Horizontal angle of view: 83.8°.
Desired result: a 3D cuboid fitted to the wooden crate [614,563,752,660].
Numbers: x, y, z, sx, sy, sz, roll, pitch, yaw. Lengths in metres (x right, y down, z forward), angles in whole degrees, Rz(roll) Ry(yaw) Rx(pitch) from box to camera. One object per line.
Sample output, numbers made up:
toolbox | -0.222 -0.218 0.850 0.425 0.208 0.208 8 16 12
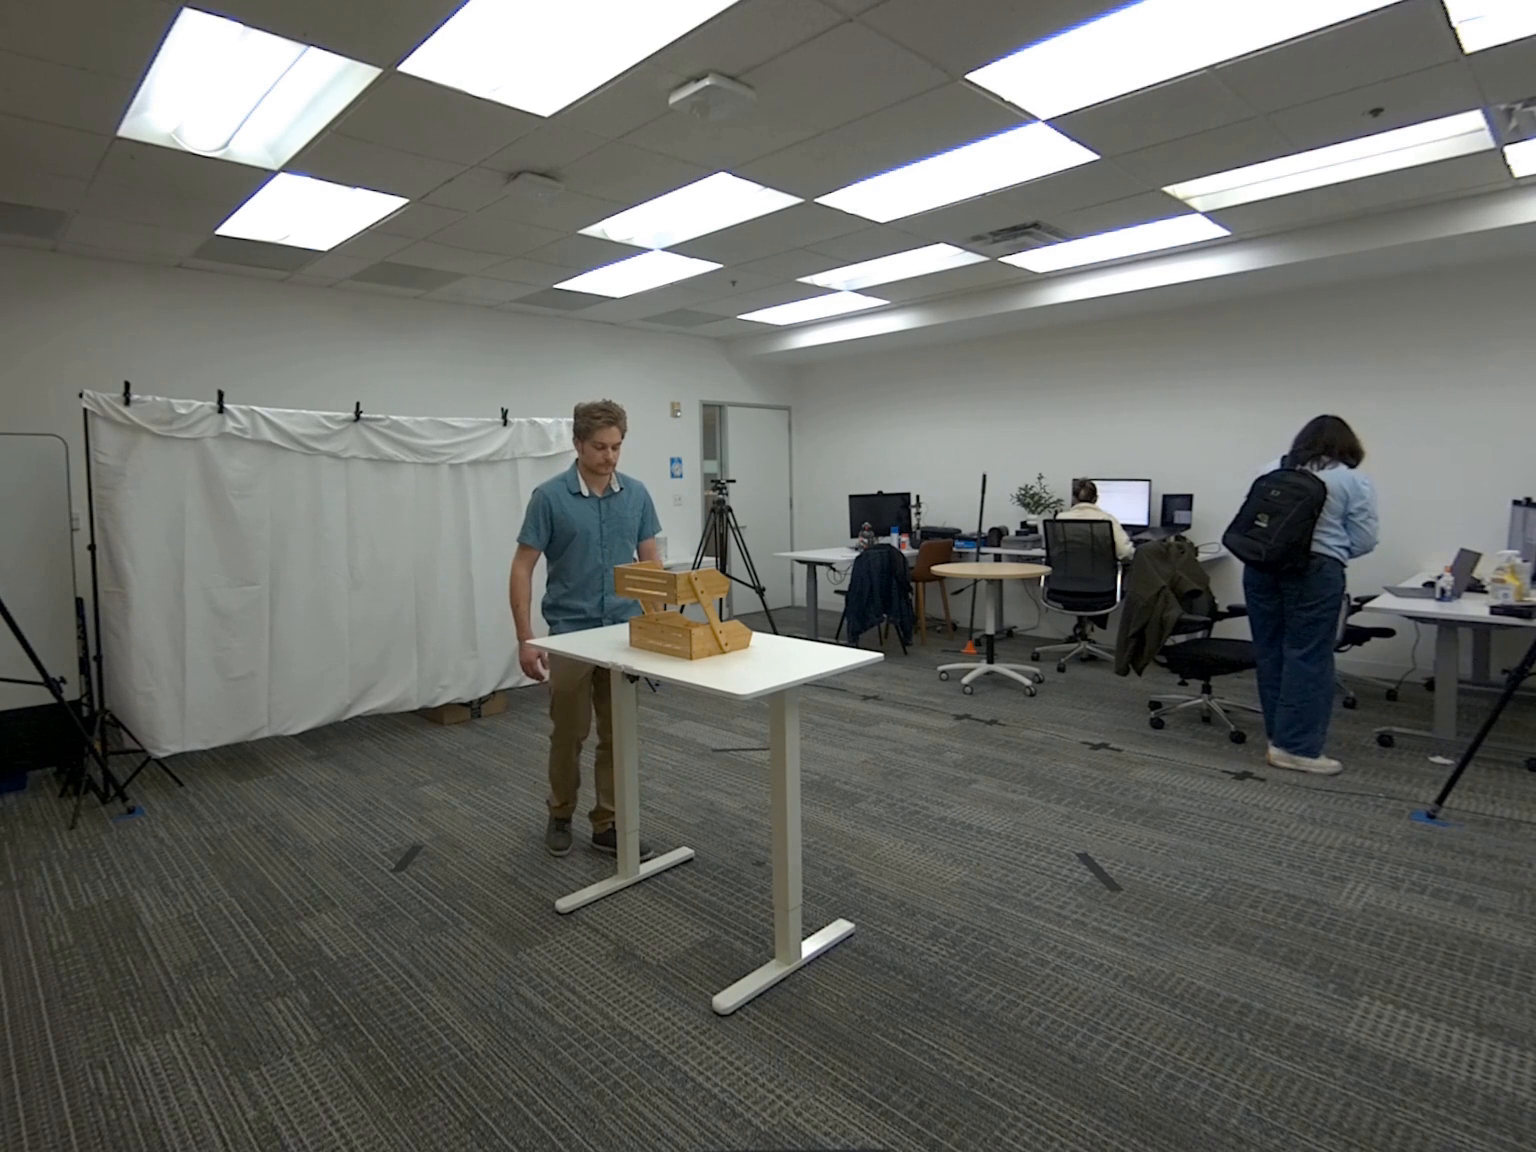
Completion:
wooden crate | -0.258 0.089 2.636 0.294 0.272 0.334 -8 9 -44
